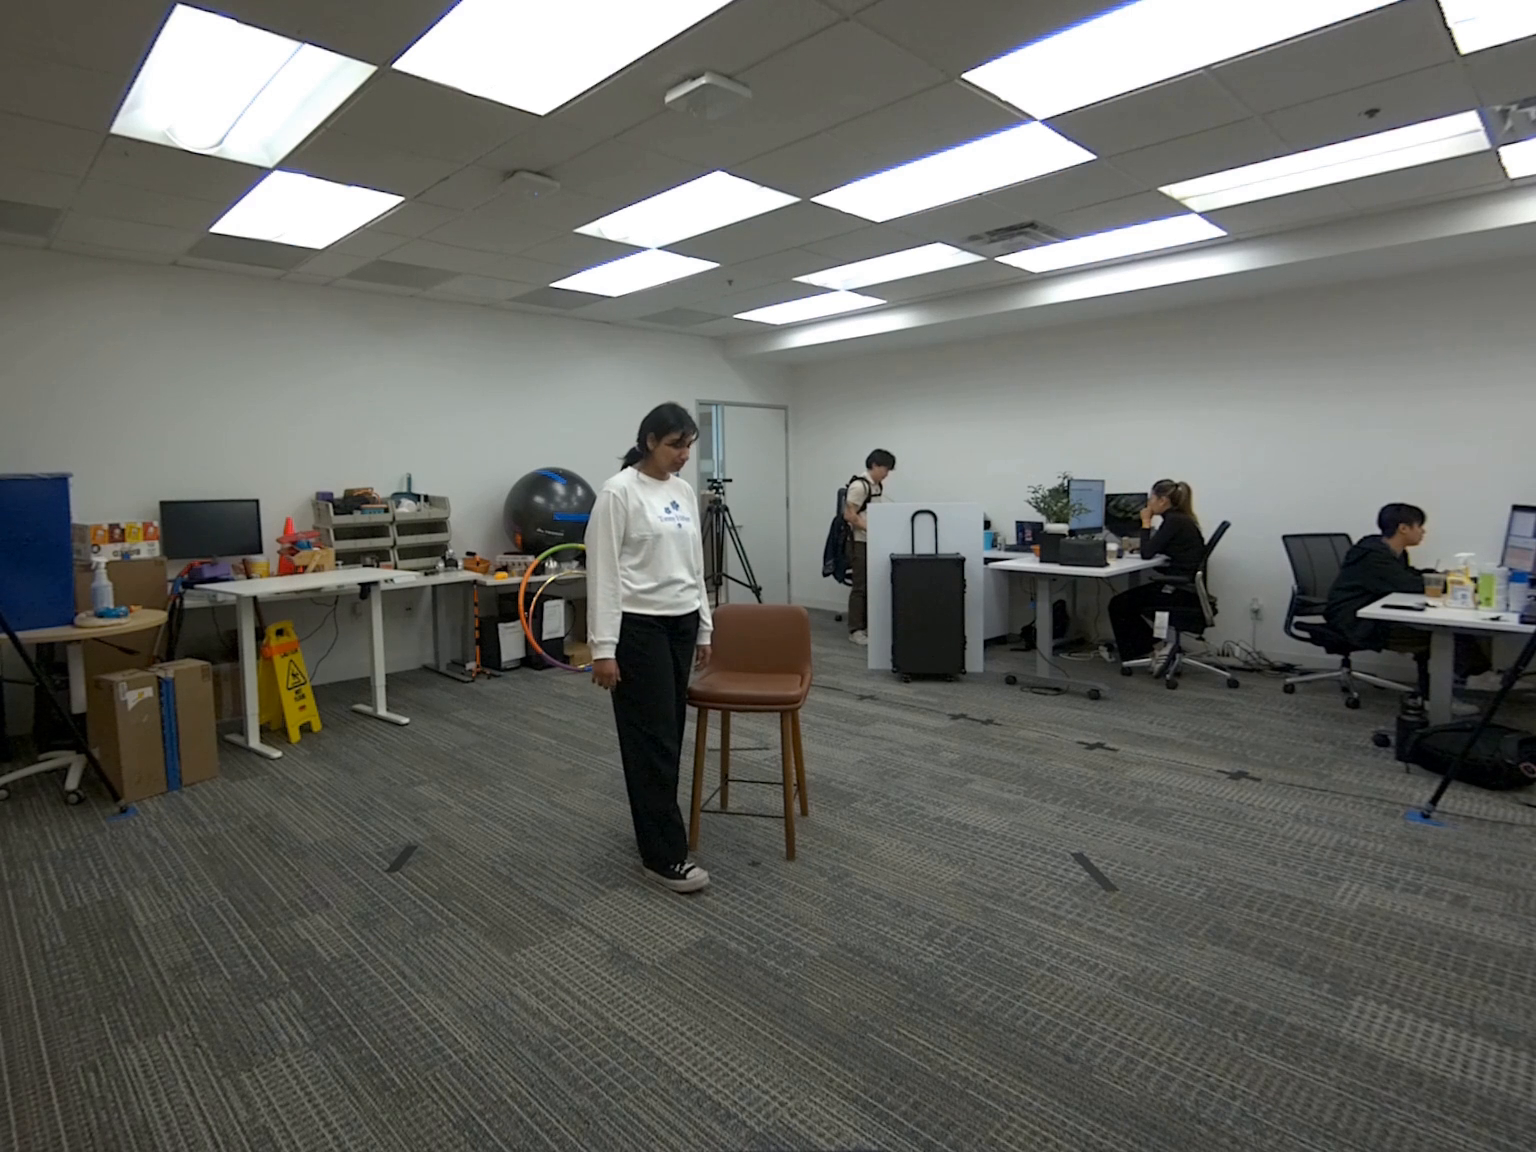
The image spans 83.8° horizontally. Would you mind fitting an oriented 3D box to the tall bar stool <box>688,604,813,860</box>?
[{"bbox_3d":[-0.060,0.580,3.372,0.463,0.888,0.462,1,3,14],"label":"tall bar stool"}]
